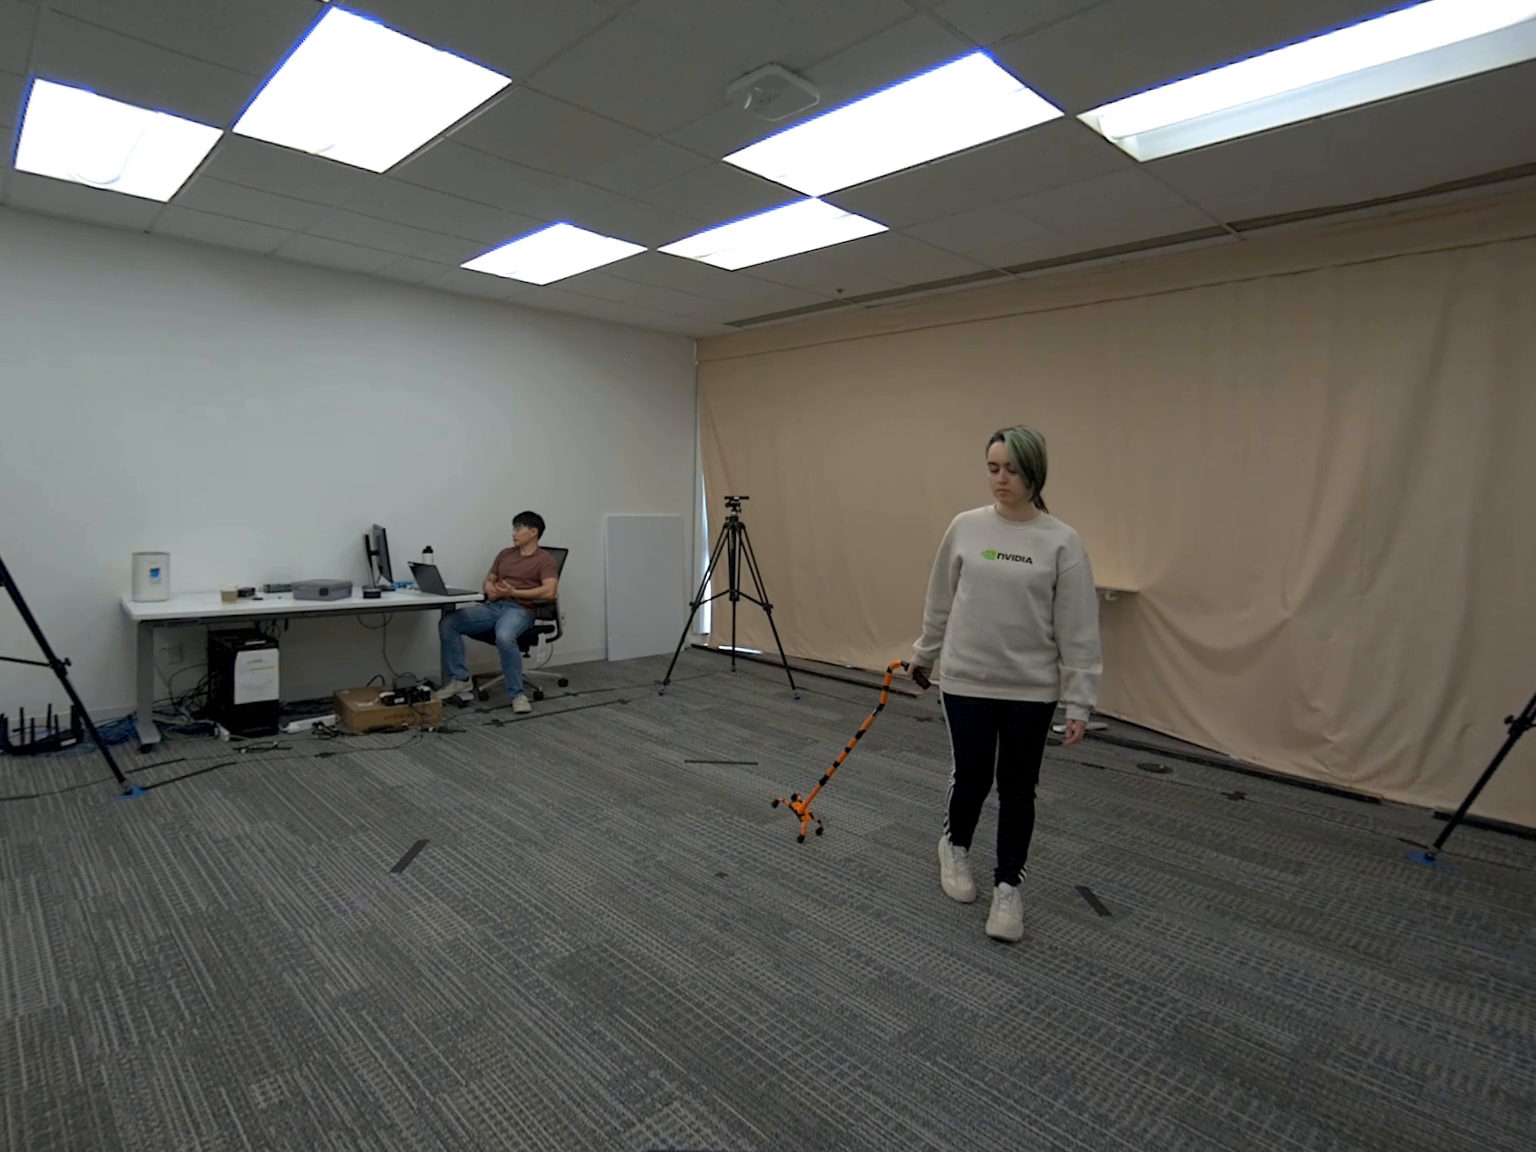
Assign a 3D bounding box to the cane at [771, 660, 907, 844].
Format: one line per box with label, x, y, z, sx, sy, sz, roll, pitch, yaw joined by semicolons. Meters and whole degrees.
cane;0.316;0.676;3.312;0.148;0.903;0.212;1;41;-46
